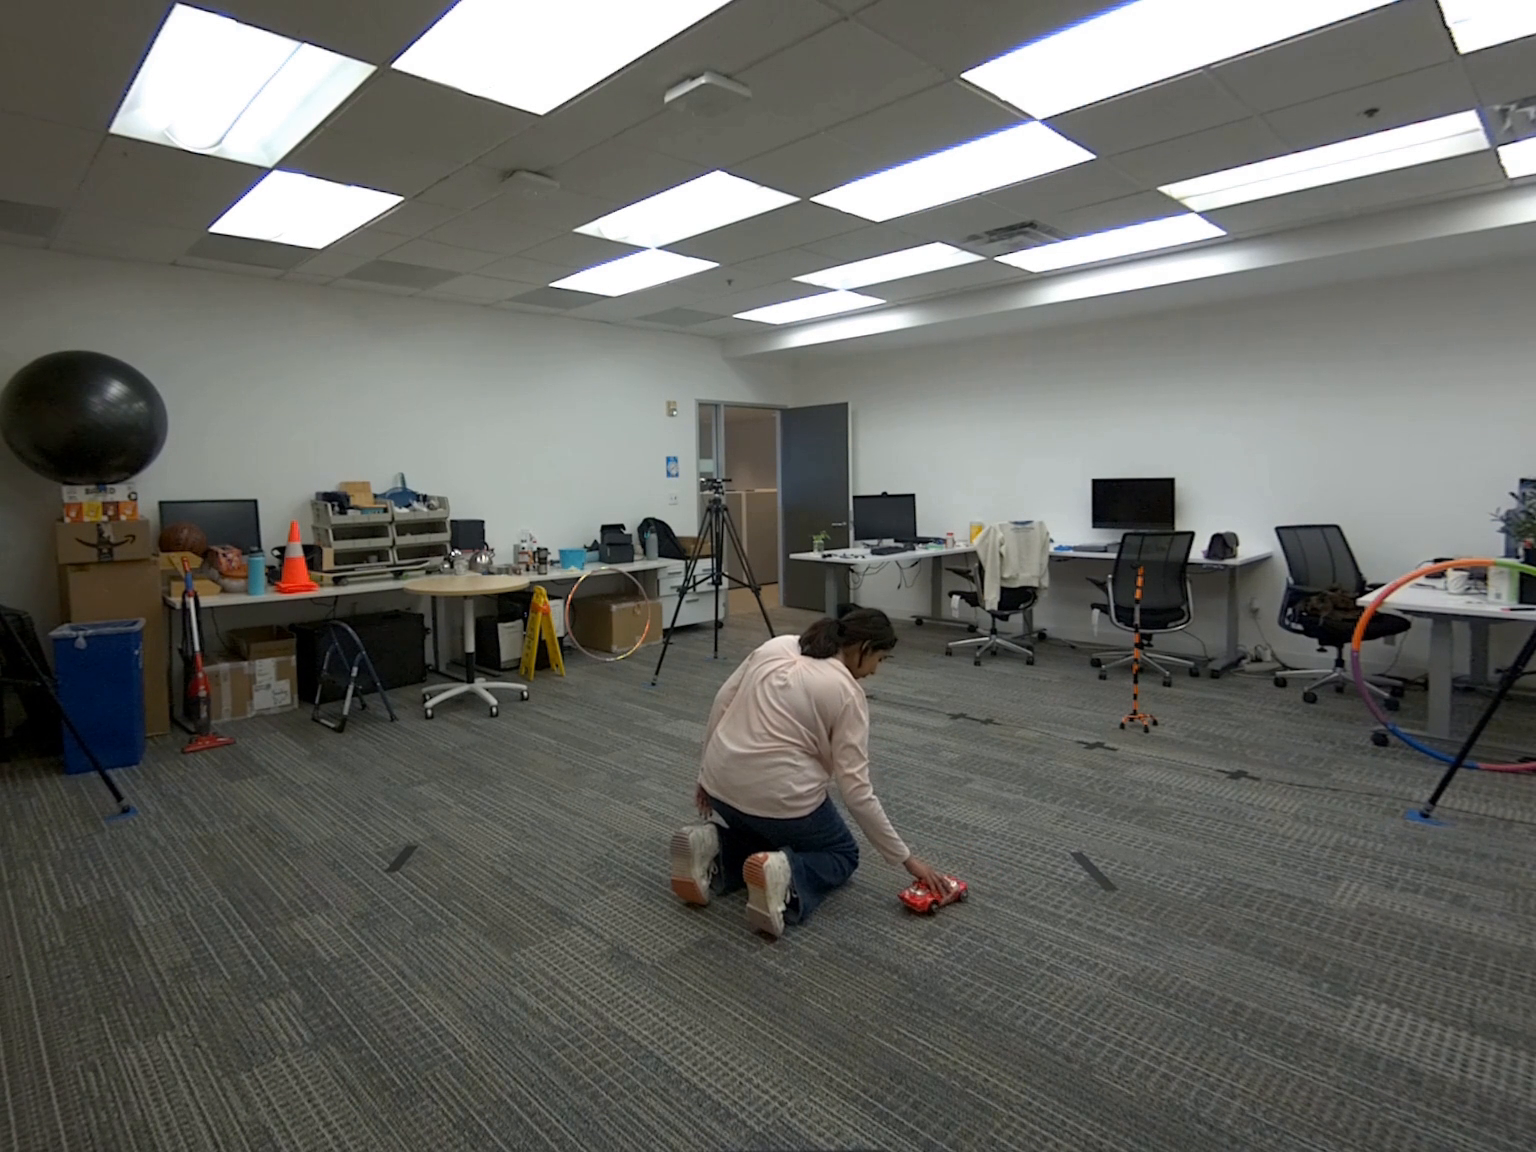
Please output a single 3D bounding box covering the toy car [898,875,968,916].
[{"bbox_3d":[0.536,1.033,2.783,0.247,0.083,0.134,7,1,-36],"label":"toy car"}]
